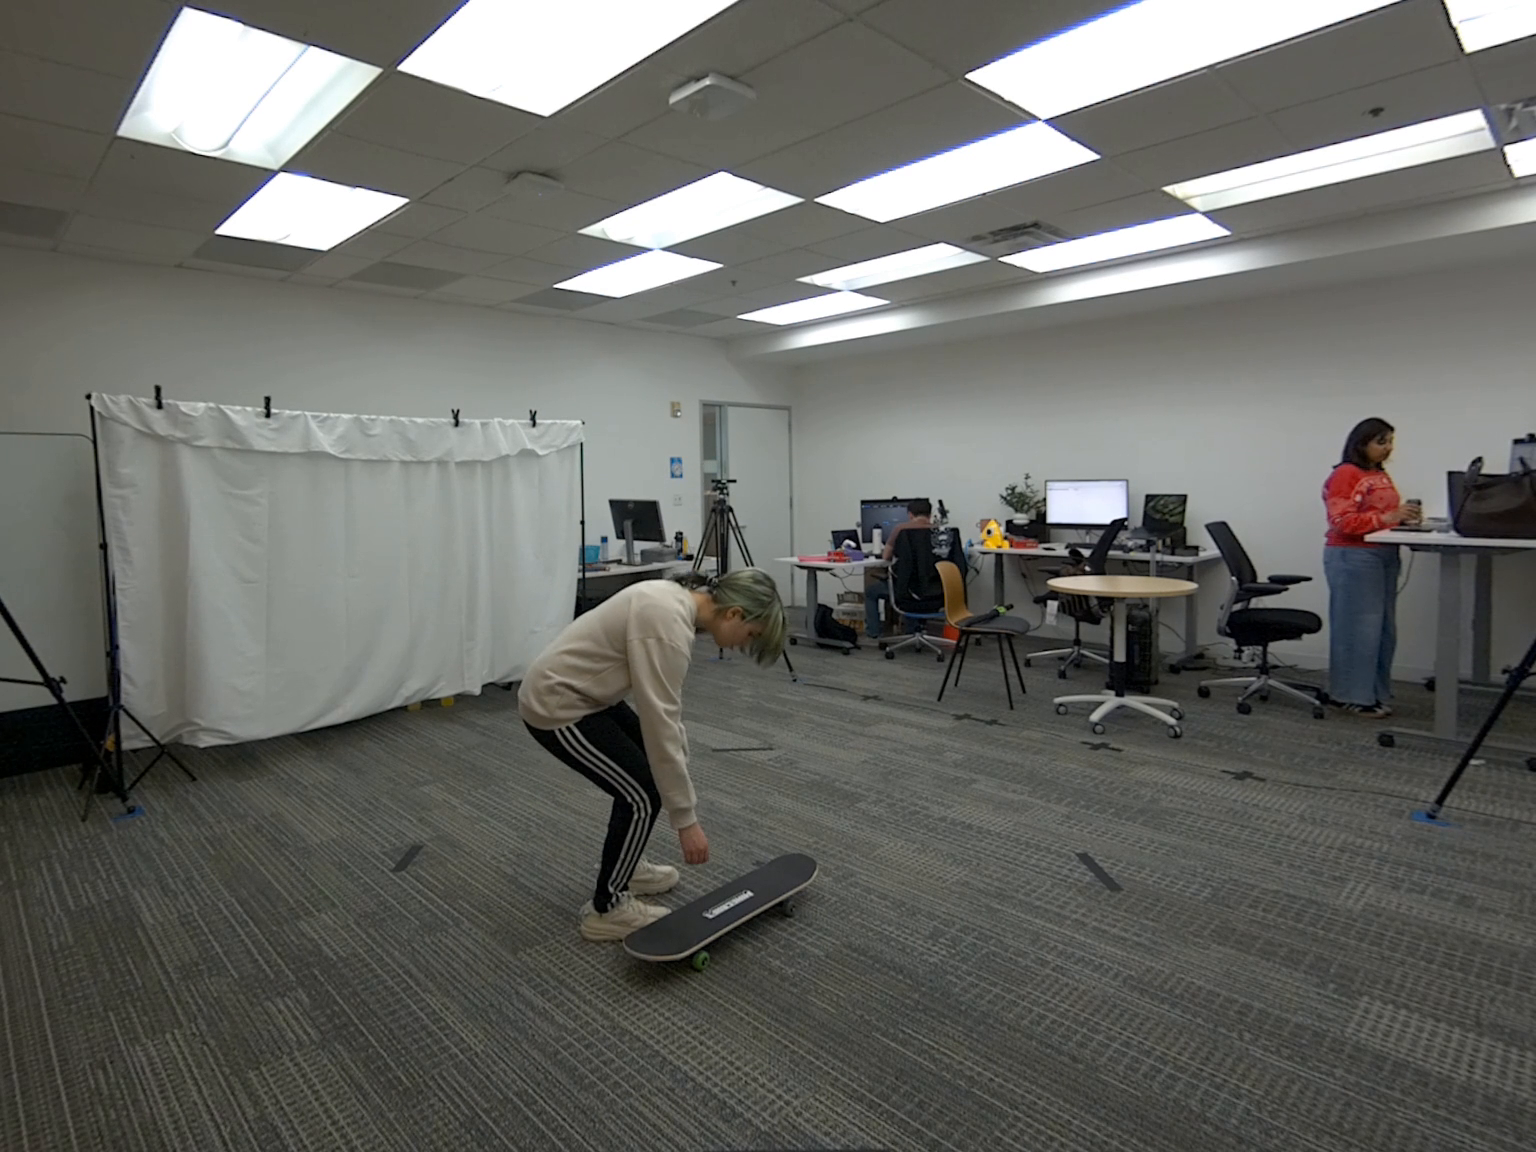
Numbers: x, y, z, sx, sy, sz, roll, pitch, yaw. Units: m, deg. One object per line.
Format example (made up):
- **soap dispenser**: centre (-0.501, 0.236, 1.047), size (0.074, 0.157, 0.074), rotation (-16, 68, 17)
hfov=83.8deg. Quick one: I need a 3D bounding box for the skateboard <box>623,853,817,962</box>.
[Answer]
- **skateboard**: centre (-0.119, 1.042, 2.645), size (0.199, 0.110, 0.765), rotation (4, 8, 41)
